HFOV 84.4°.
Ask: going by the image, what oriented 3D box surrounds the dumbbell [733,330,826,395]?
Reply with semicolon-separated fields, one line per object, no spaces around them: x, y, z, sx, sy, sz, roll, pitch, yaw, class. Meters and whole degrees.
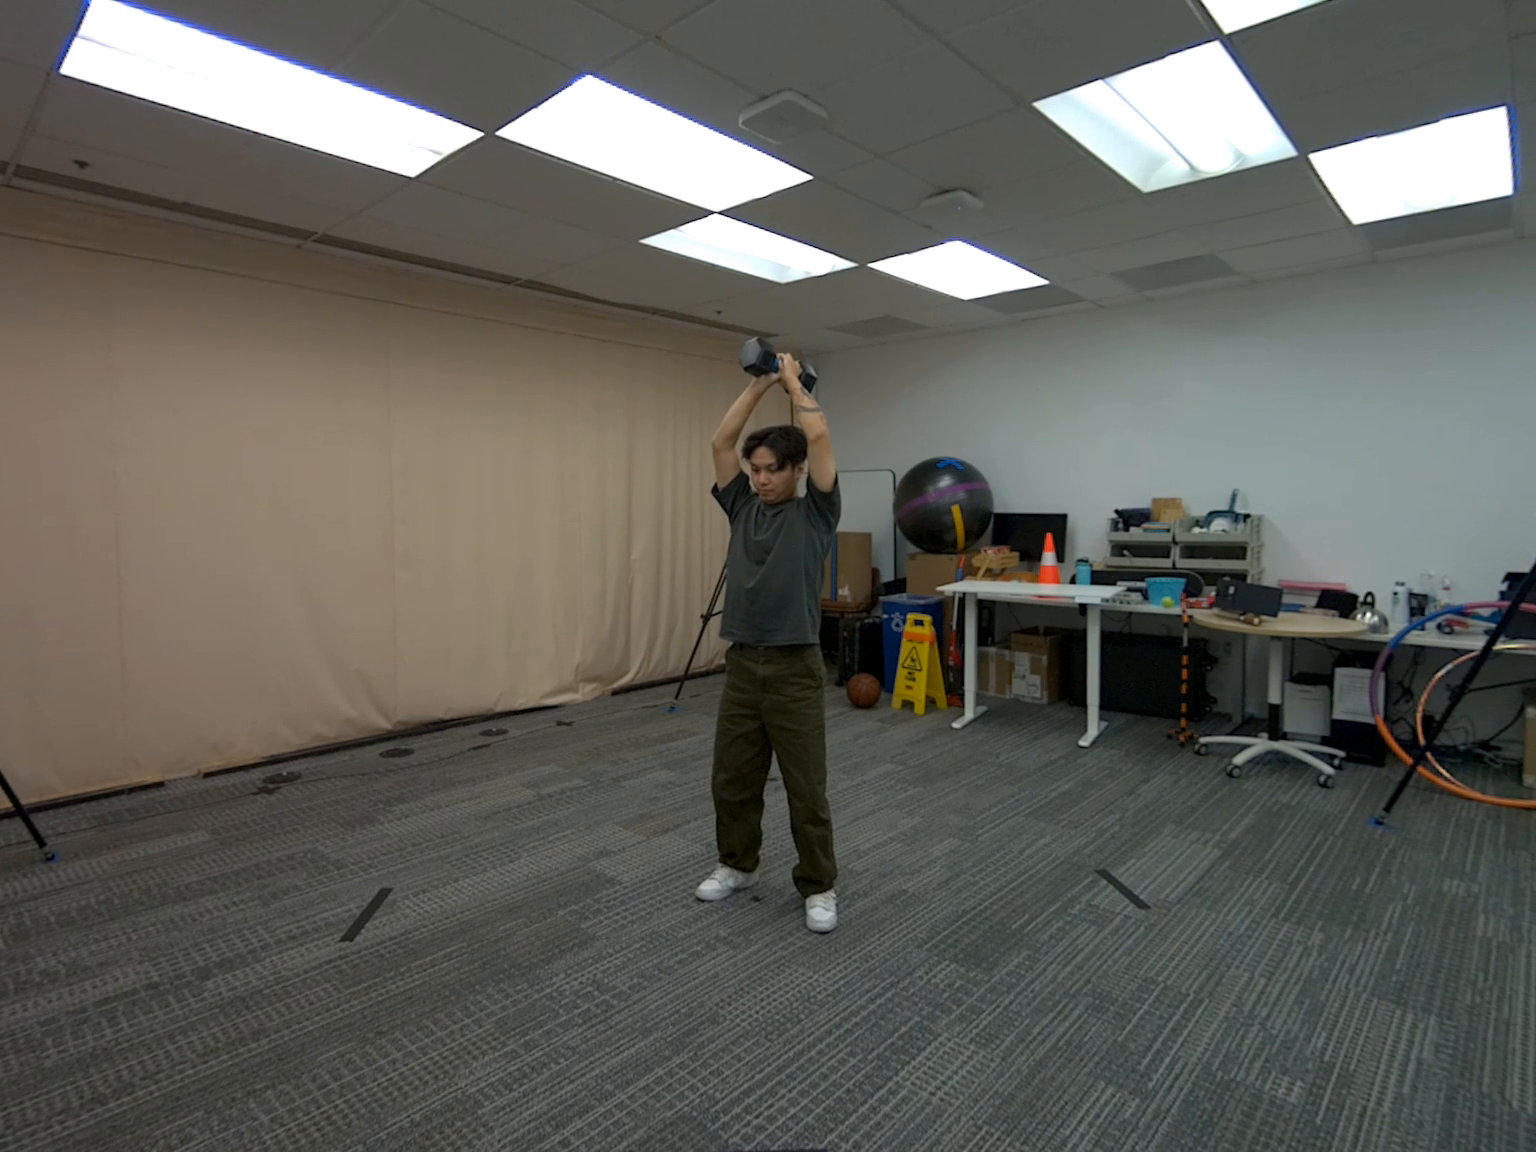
0.039;-0.709;2.869;0.283;0.123;0.113;16;12;-45;dumbbell
